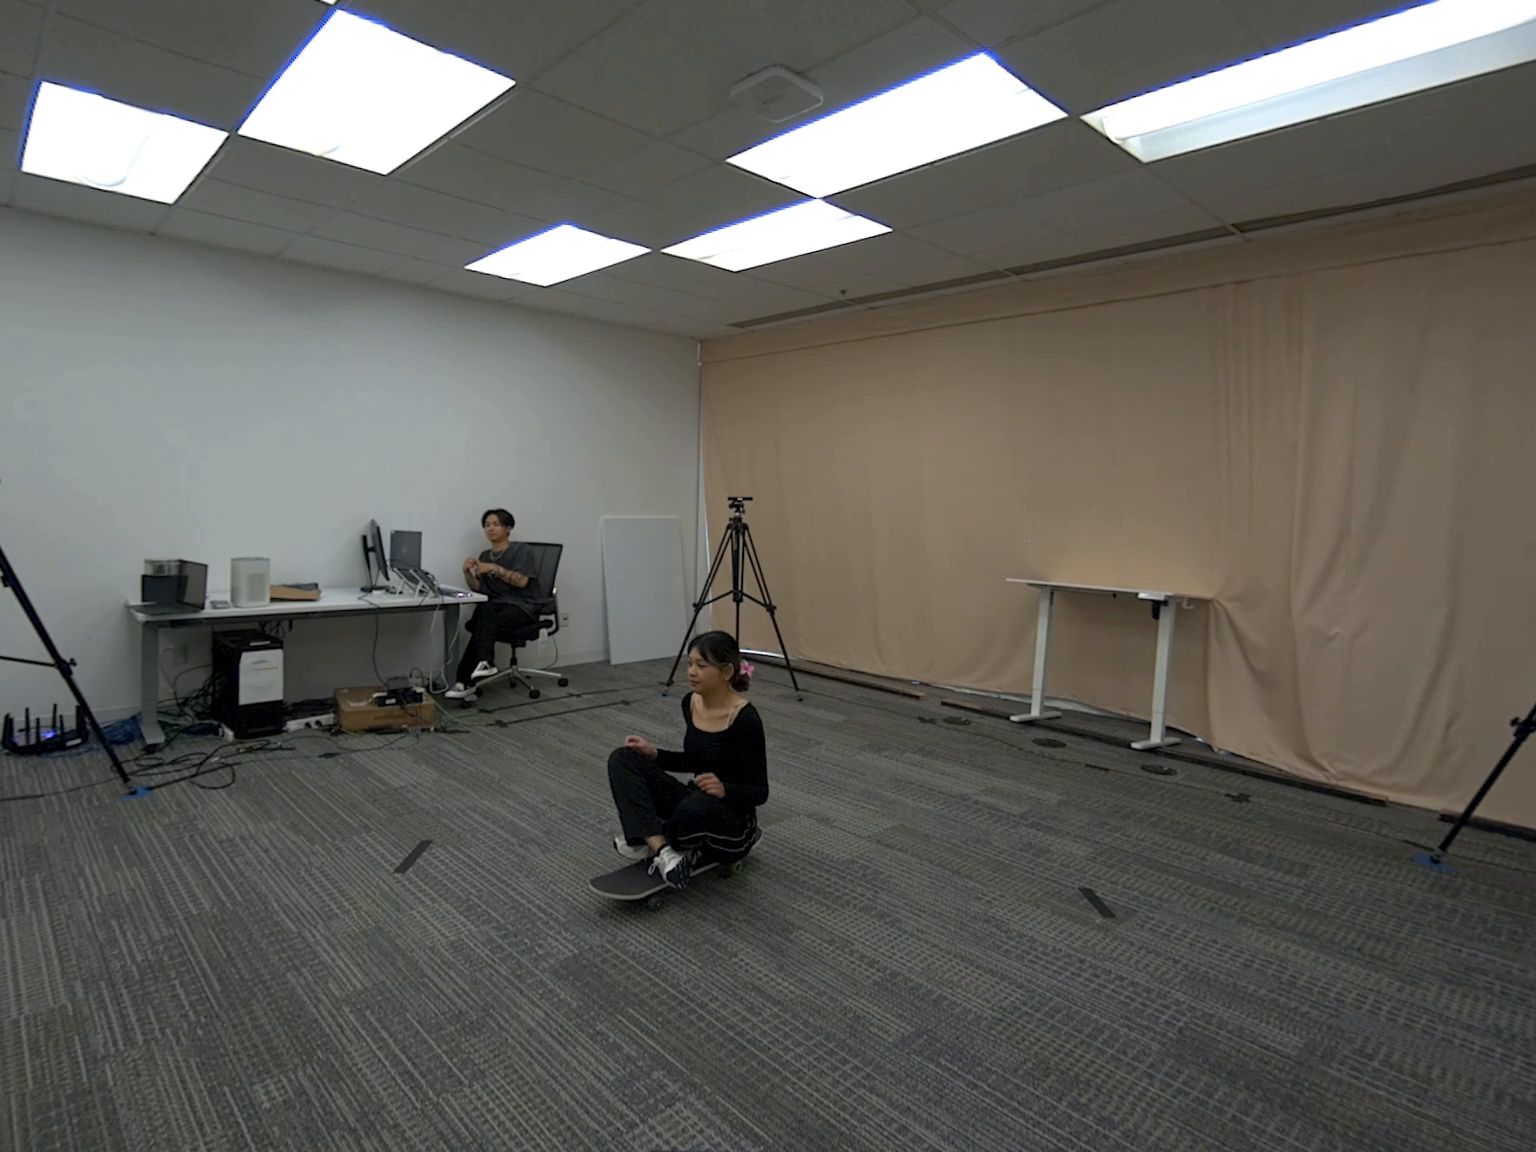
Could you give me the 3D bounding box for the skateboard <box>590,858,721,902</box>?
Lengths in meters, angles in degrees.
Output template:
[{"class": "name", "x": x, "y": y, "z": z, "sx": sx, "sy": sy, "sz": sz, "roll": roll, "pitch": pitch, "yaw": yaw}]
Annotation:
[{"class": "skateboard", "x": -0.322, "y": 1.051, "z": 3.023, "sx": 0.198, "sy": 0.110, "sz": 0.767, "roll": 5, "pitch": 5, "yaw": 39}]
